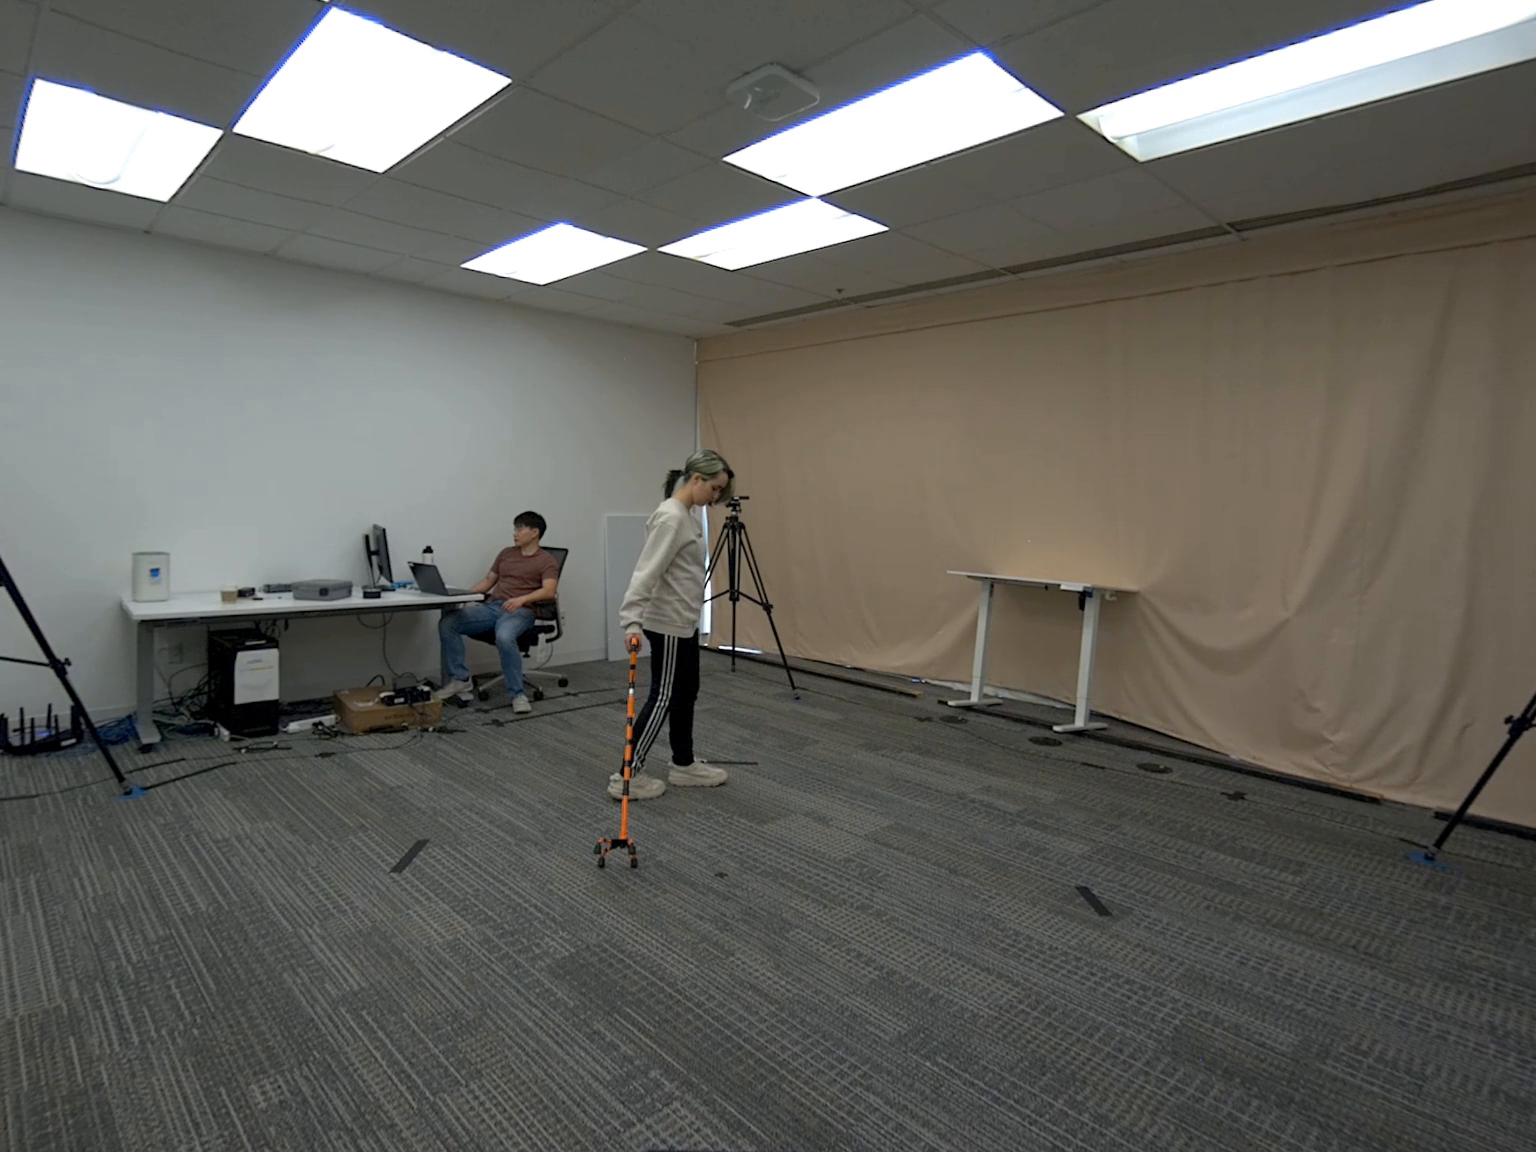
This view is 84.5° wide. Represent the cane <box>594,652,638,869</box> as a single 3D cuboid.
[{"bbox_3d":[-0.573,0.660,3.319,0.151,0.927,0.203,1,-34,-5],"label":"cane"}]
